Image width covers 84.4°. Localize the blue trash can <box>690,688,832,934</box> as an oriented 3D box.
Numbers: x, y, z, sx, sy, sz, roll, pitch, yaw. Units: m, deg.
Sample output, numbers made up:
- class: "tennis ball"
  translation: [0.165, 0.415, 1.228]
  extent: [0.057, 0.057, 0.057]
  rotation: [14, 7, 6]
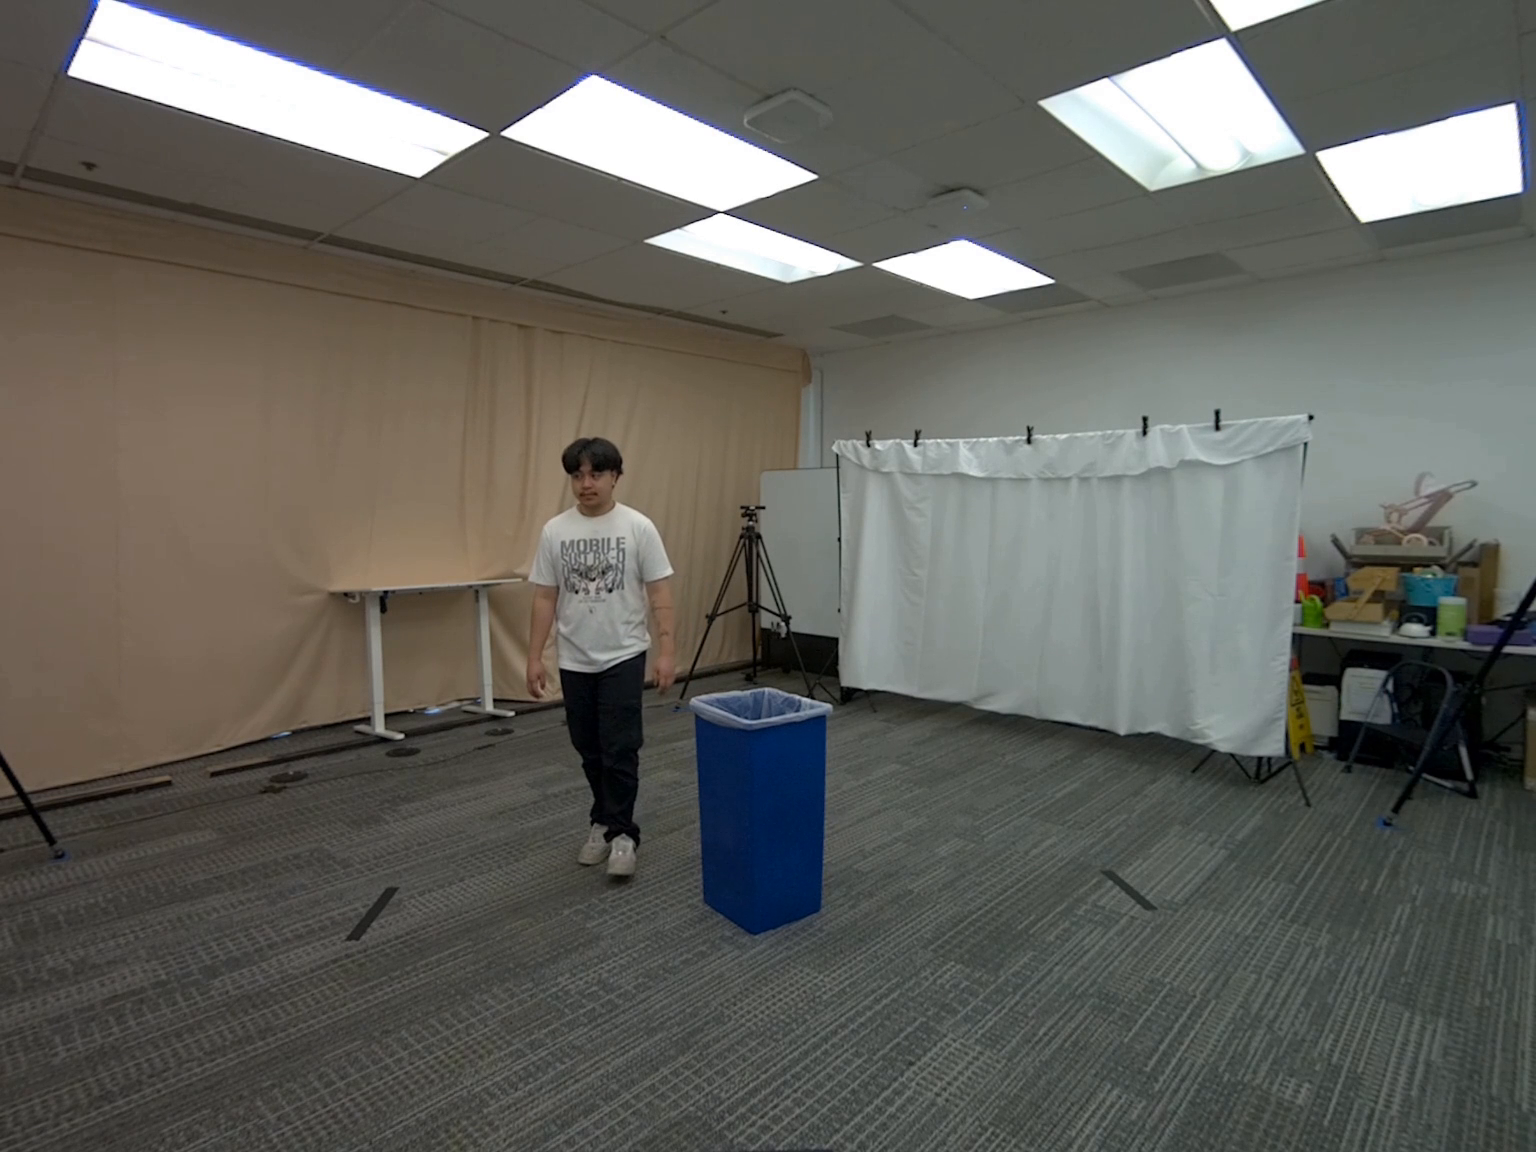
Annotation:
- class: "blue trash can"
  translation: [-0.025, 0.792, 2.905]
  extent: [0.363, 0.712, 0.390]
  rotation: [-2, 4, -37]
